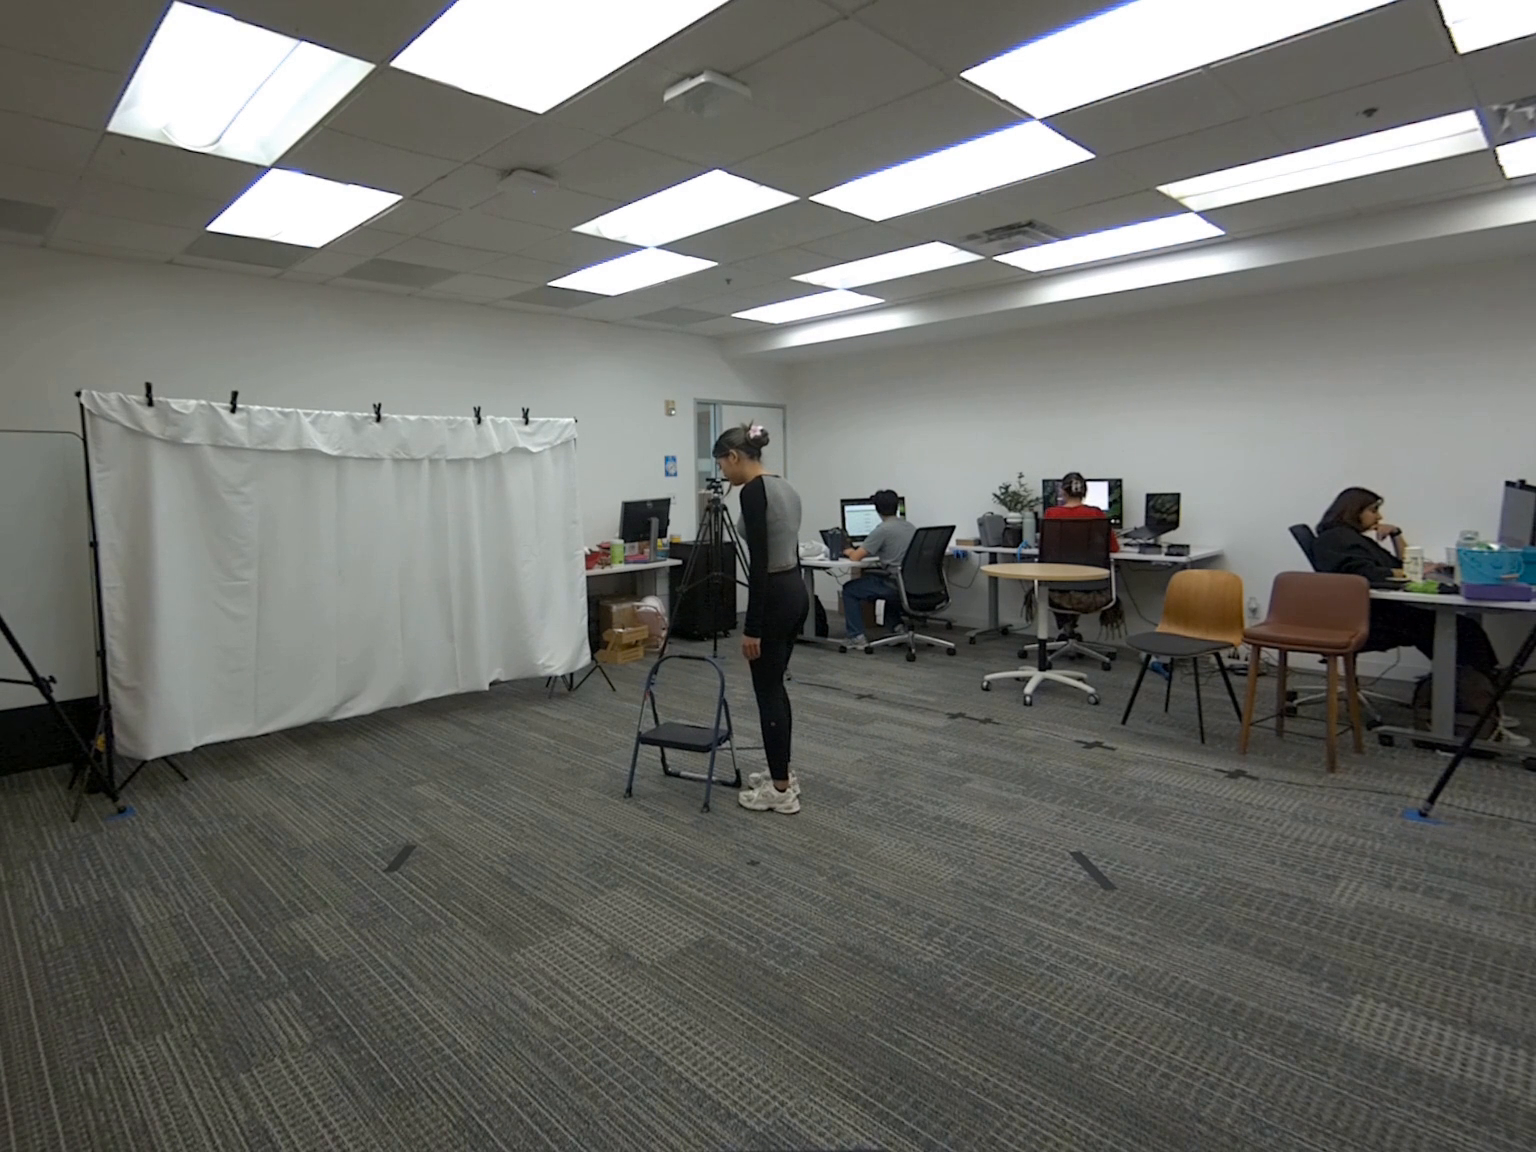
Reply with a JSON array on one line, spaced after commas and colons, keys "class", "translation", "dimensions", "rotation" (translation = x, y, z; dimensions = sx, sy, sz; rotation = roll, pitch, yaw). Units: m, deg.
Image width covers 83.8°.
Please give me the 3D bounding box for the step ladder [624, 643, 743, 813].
[{"class": "step ladder", "translation": [-0.379, 0.667, 3.820], "dimensions": [0.441, 0.604, 0.342], "rotation": [2, 4, 27]}]
